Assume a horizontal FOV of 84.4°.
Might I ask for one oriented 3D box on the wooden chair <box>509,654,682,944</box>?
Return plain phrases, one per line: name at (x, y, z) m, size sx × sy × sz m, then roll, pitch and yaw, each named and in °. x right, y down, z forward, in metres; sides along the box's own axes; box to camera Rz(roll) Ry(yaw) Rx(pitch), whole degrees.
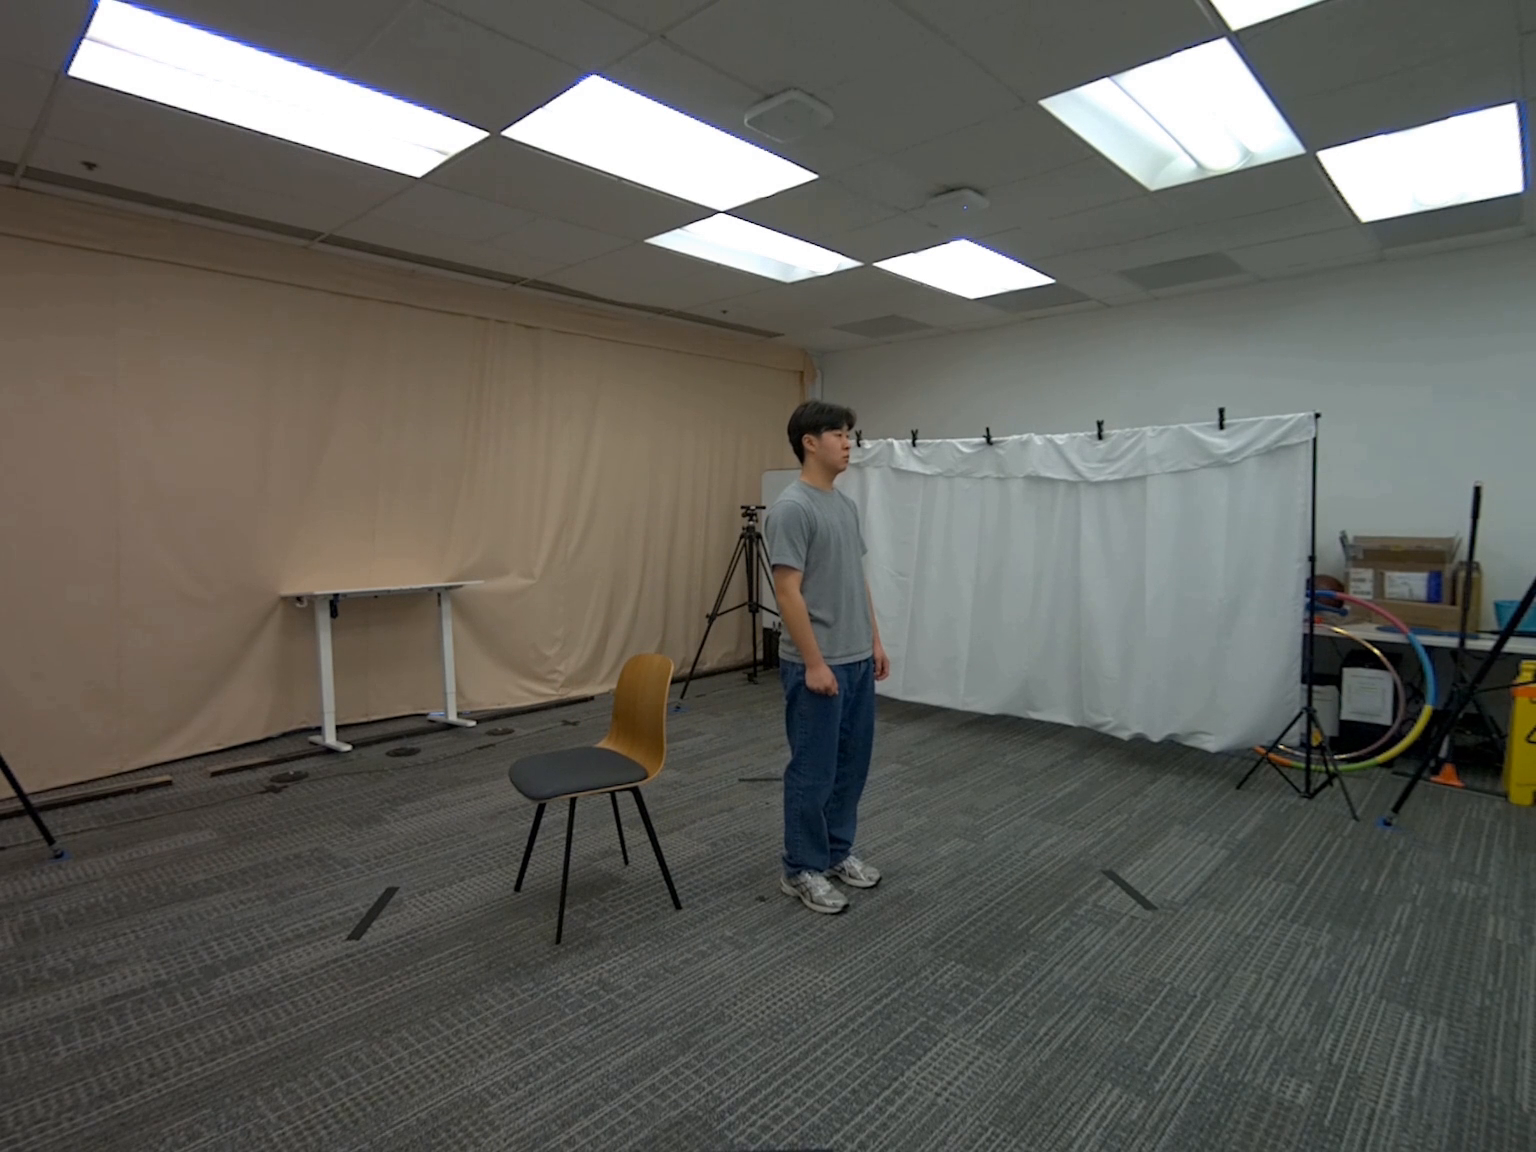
wooden chair at (-0.622, 0.729, 2.956) m, size 0.508 × 0.877 × 0.492 m, roll 2°, pitch 1°, yaw -33°
